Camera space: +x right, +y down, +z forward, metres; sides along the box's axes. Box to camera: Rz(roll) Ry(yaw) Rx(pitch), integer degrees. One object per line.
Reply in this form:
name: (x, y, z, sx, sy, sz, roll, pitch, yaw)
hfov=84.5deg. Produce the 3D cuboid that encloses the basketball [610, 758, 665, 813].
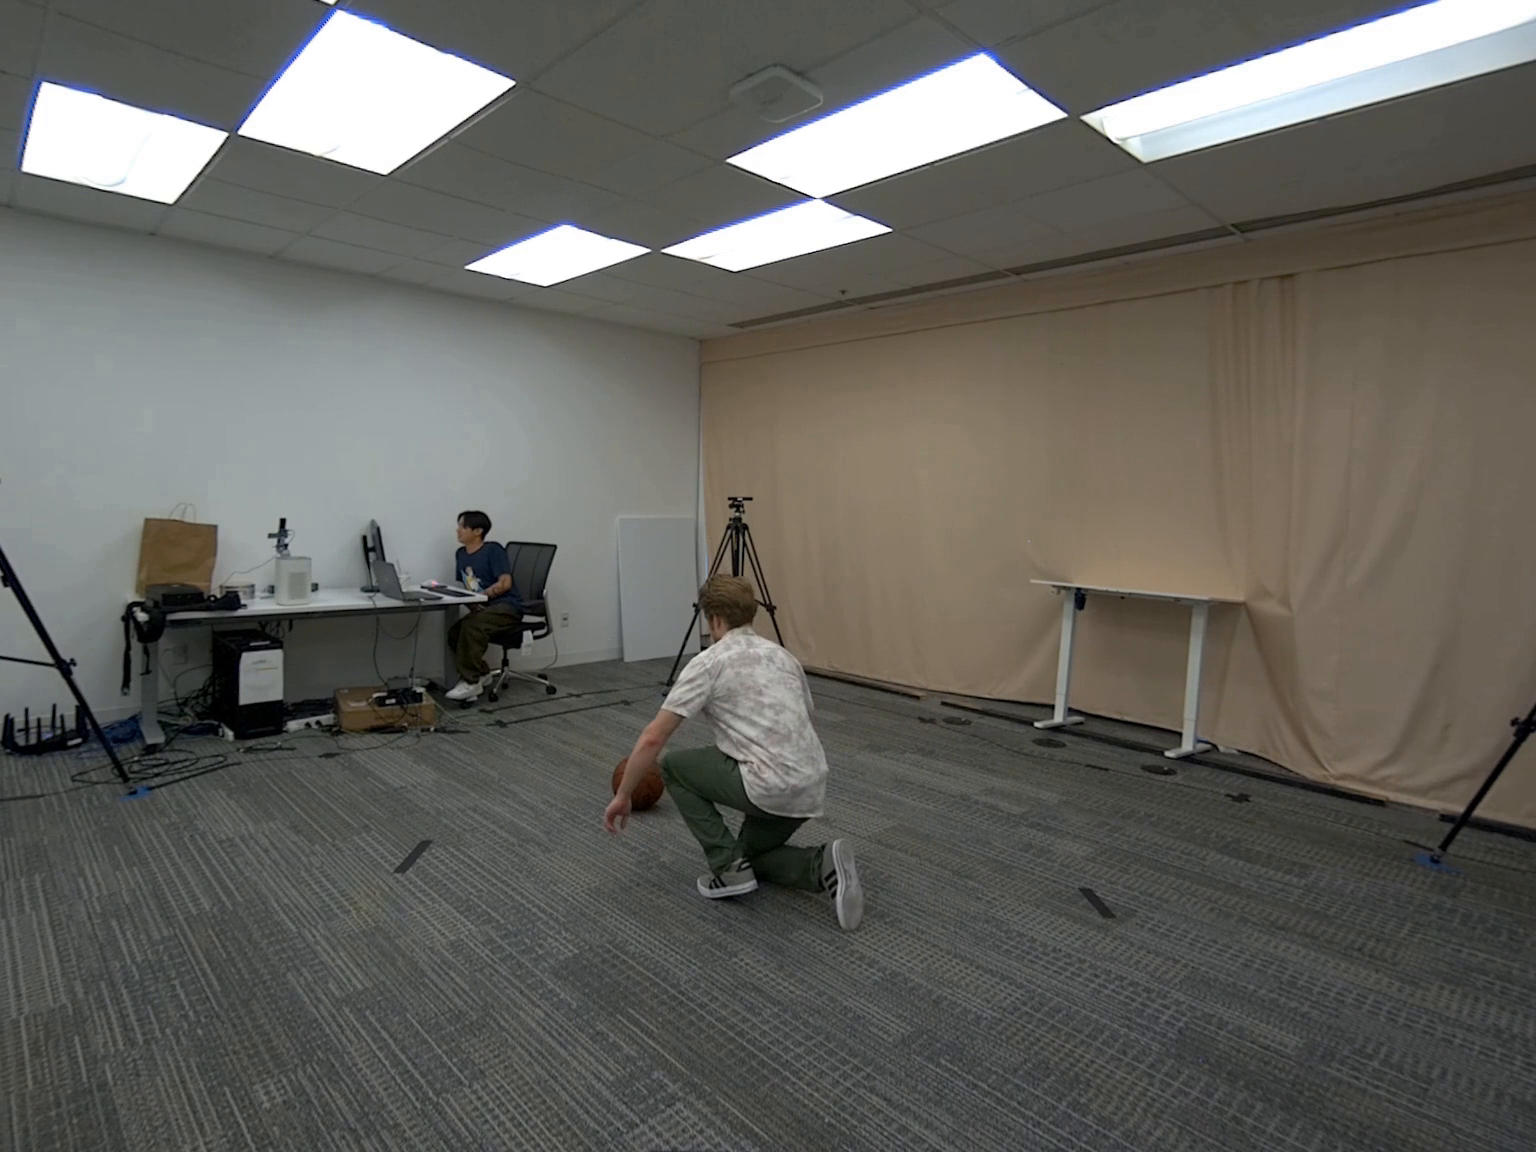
basketball: (-0.586, 0.915, 3.769, 0.236, 0.235, 0.237, 1, 4, -1)
